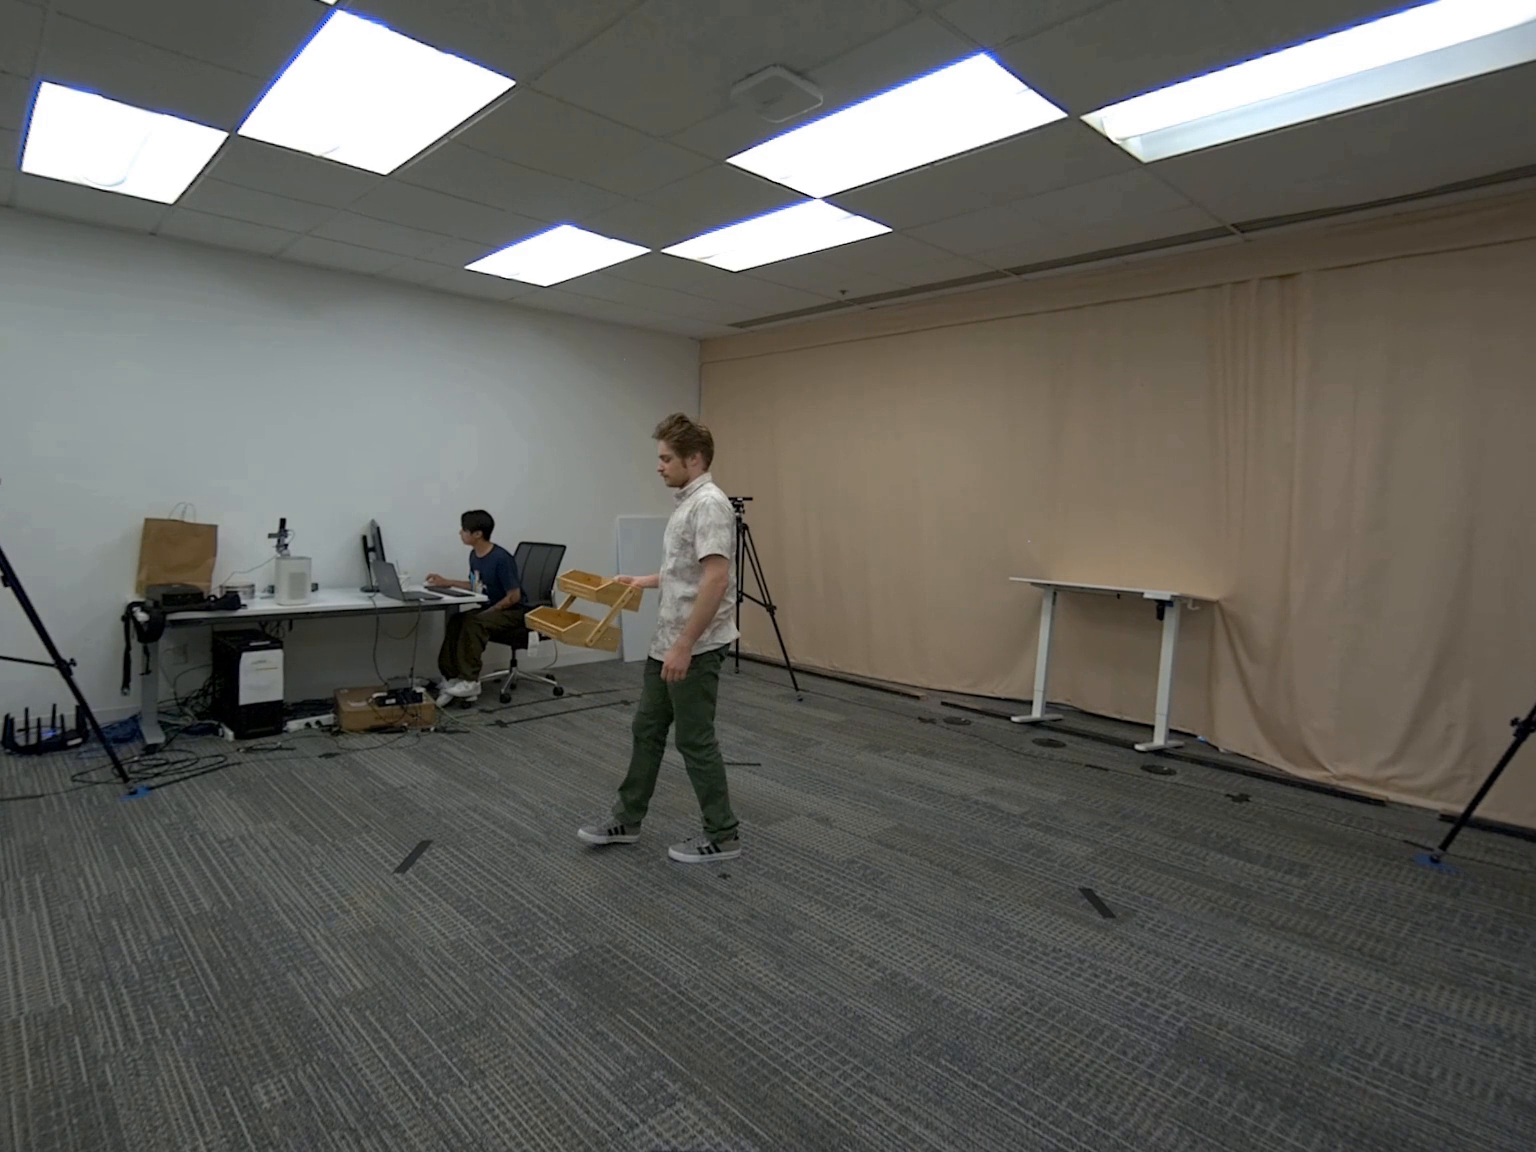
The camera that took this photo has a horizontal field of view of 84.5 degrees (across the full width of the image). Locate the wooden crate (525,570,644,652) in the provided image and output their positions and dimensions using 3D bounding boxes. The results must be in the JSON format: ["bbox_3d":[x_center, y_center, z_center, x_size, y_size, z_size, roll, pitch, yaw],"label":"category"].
[{"bbox_3d":[-0.720,0.118,3.259,0.293,0.274,0.333,18,-4,-42],"label":"wooden crate"}]
